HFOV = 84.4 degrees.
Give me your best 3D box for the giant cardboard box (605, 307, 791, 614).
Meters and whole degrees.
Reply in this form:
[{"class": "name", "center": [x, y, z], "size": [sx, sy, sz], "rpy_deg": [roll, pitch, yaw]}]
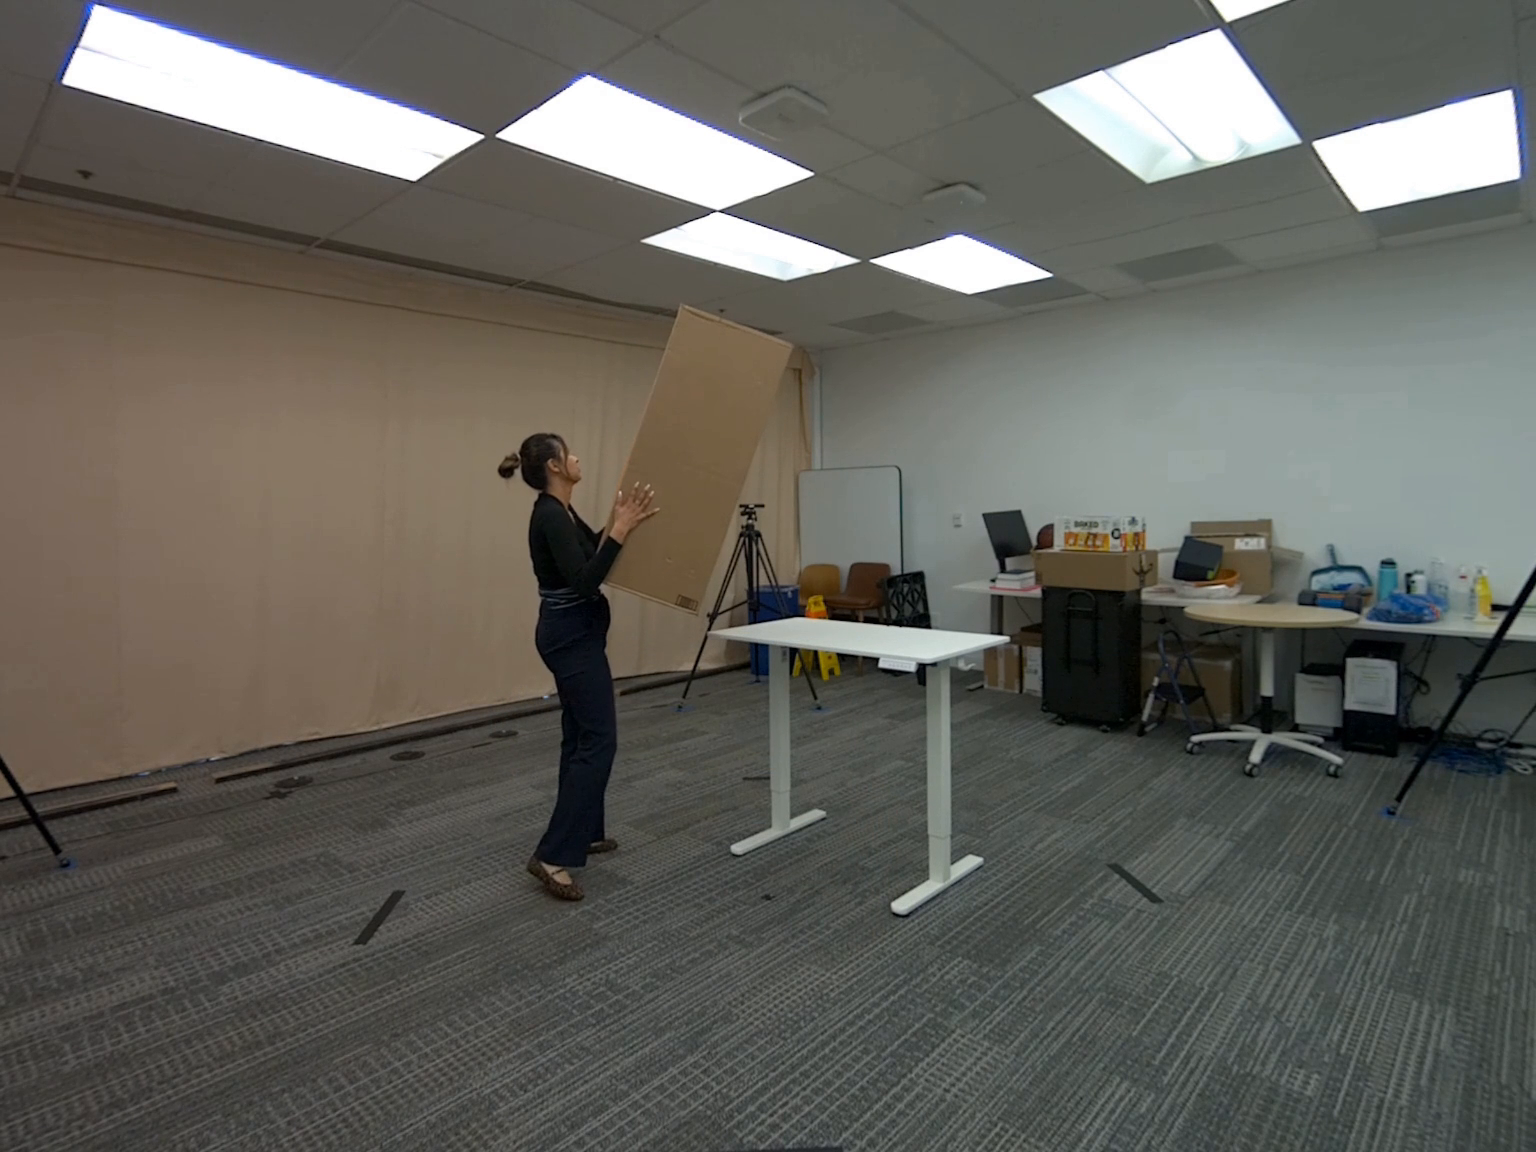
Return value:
[{"class": "giant cardboard box", "center": [-0.302, -0.438, 3.264], "size": [0.423, 1.024, 0.582], "rpy_deg": [19, 5, -7]}]
